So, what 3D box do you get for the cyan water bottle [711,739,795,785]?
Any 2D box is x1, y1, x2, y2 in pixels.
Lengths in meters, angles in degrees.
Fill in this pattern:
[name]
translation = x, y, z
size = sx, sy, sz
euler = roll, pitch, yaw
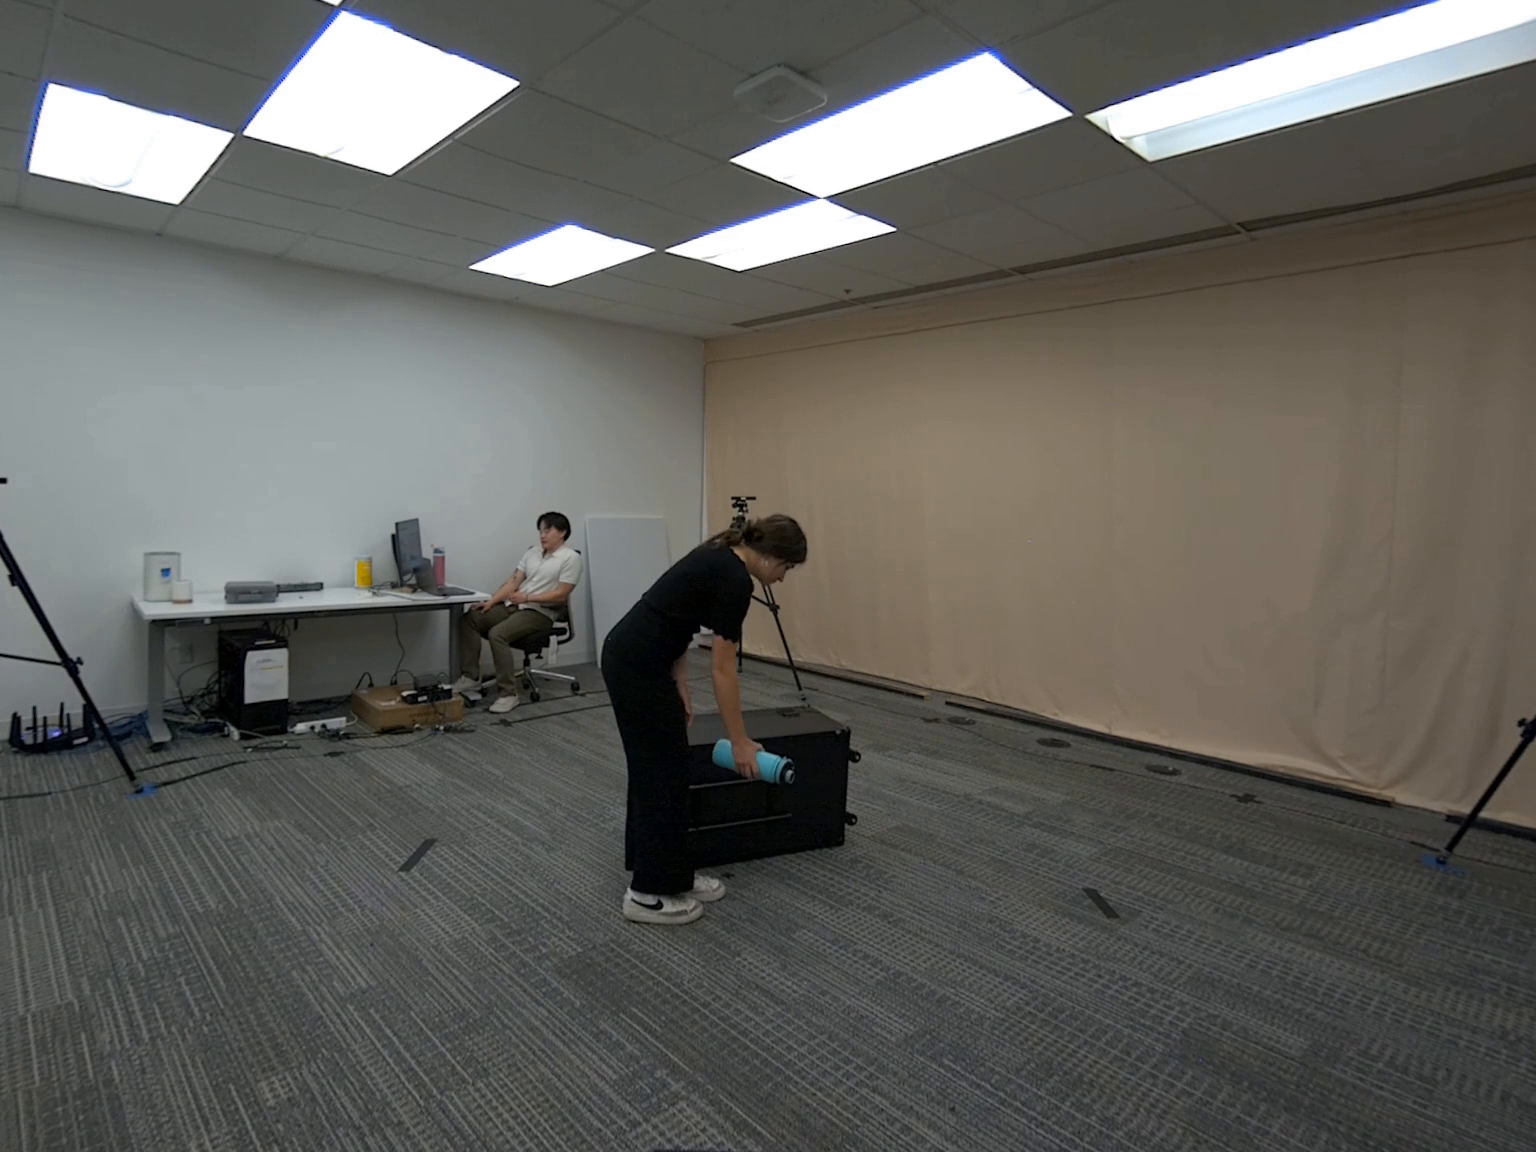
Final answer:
[cyan water bottle]
translation = -0.052, 0.628, 2.797
size = 0.289, 0.092, 0.091
euler = 10, 7, 24
